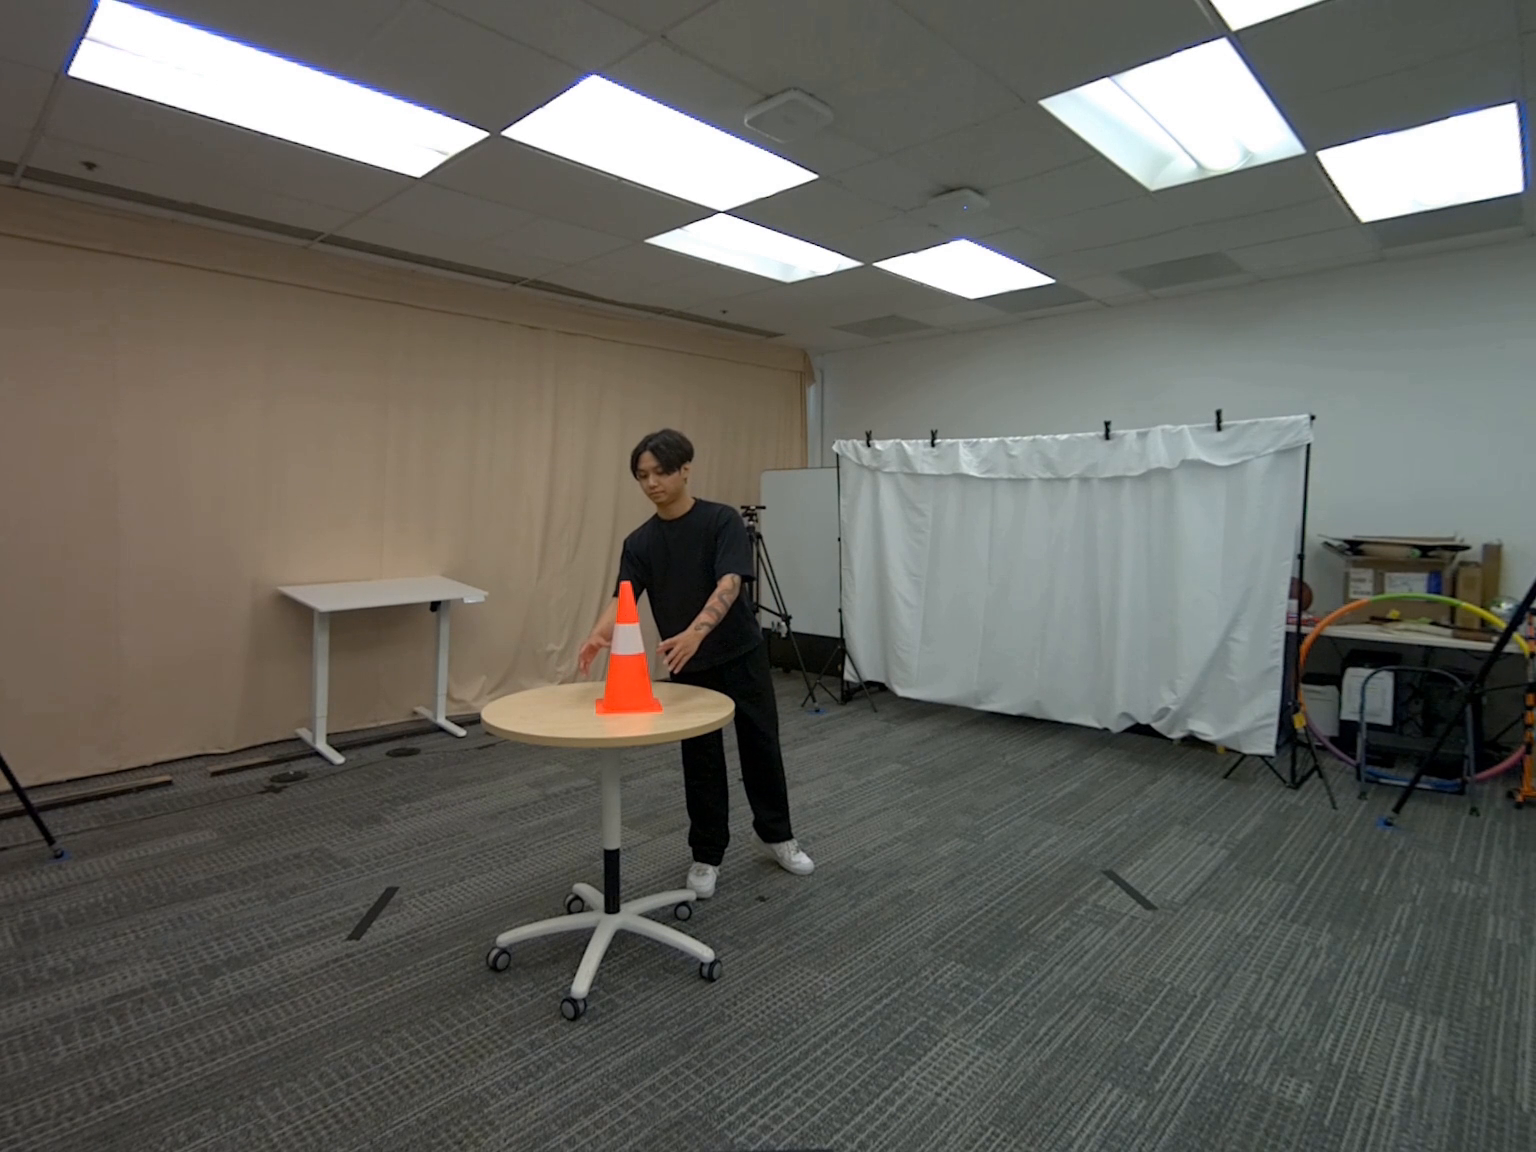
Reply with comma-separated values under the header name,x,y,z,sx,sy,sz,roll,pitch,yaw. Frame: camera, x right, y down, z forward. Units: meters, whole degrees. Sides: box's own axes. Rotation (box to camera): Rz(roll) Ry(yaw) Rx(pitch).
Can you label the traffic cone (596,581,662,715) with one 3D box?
name,x,y,z,sx,sy,sz,roll,pitch,yaw
traffic cone,-0.427,0.215,2.565,0.201,0.383,0.208,0,2,-12
